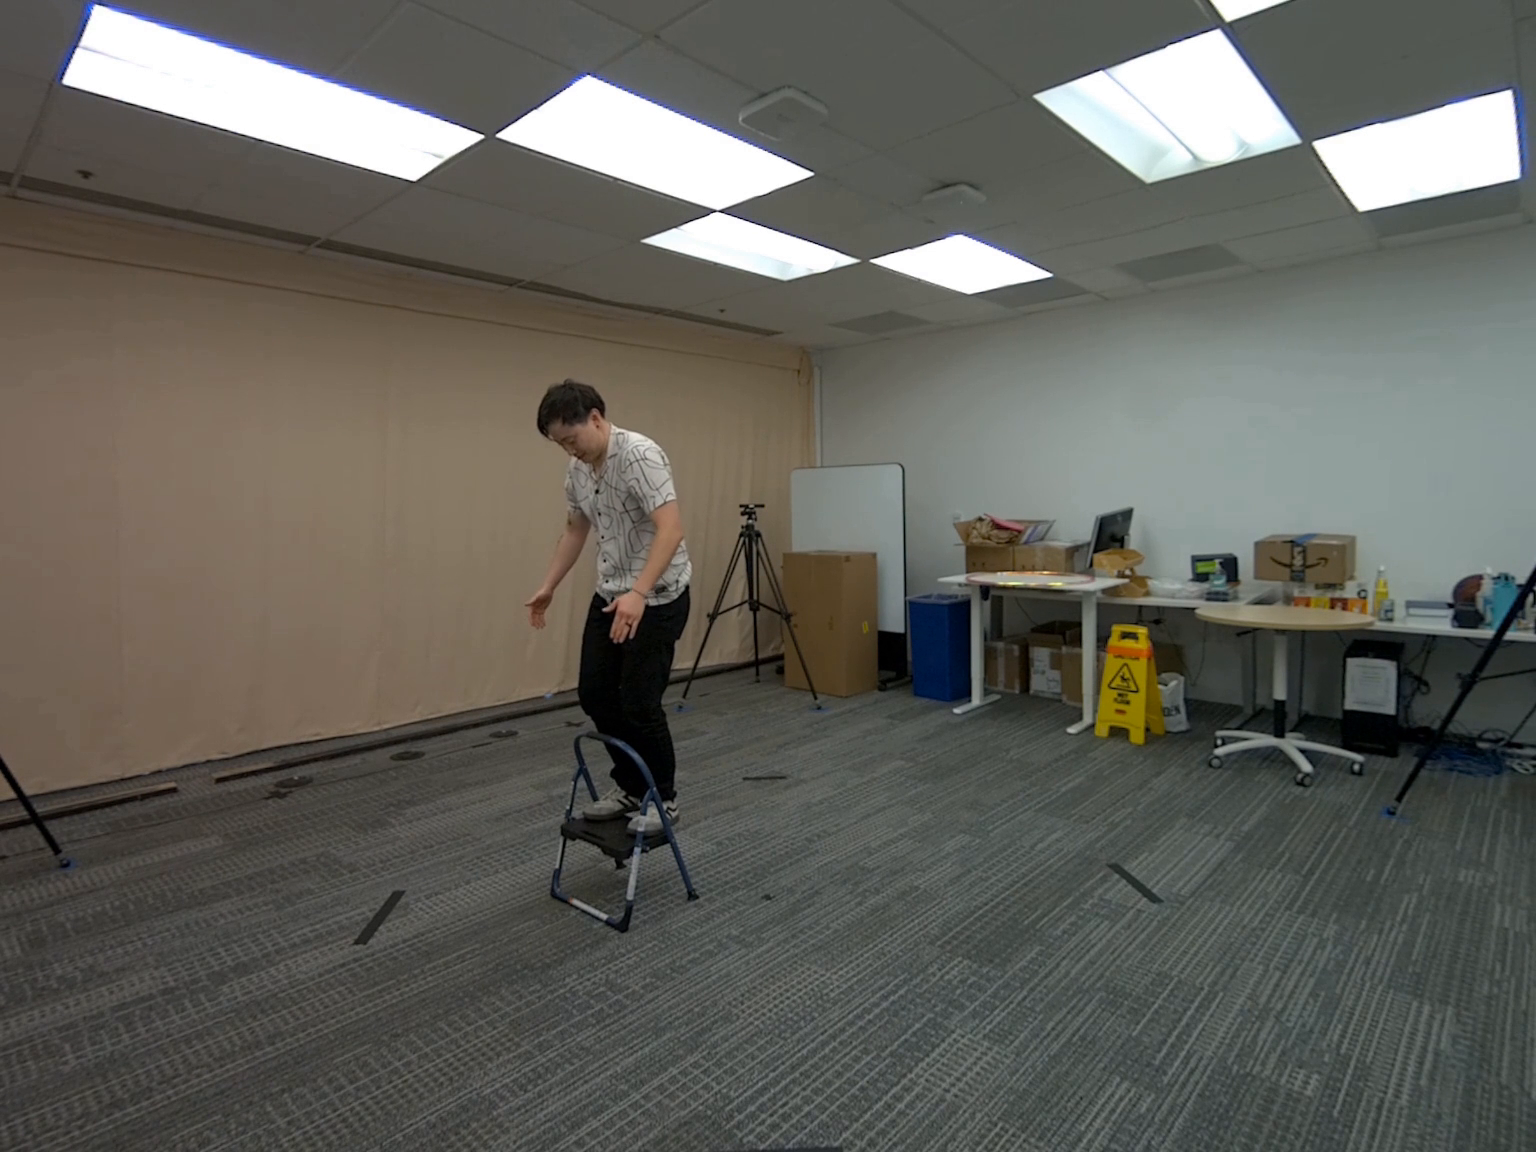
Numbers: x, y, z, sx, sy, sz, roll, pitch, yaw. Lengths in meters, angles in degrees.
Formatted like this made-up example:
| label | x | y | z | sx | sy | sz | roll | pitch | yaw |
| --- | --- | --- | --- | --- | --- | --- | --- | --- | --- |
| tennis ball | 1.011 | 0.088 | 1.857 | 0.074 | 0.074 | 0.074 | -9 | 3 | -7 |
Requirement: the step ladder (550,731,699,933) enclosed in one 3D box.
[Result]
| label | x | y | z | sx | sy | sz | roll | pitch | yaw |
| --- | --- | --- | --- | --- | --- | --- | --- | --- | --- |
| step ladder | -0.526 | 0.845 | 2.998 | 0.445 | 0.604 | 0.339 | 2 | 5 | 41 |
